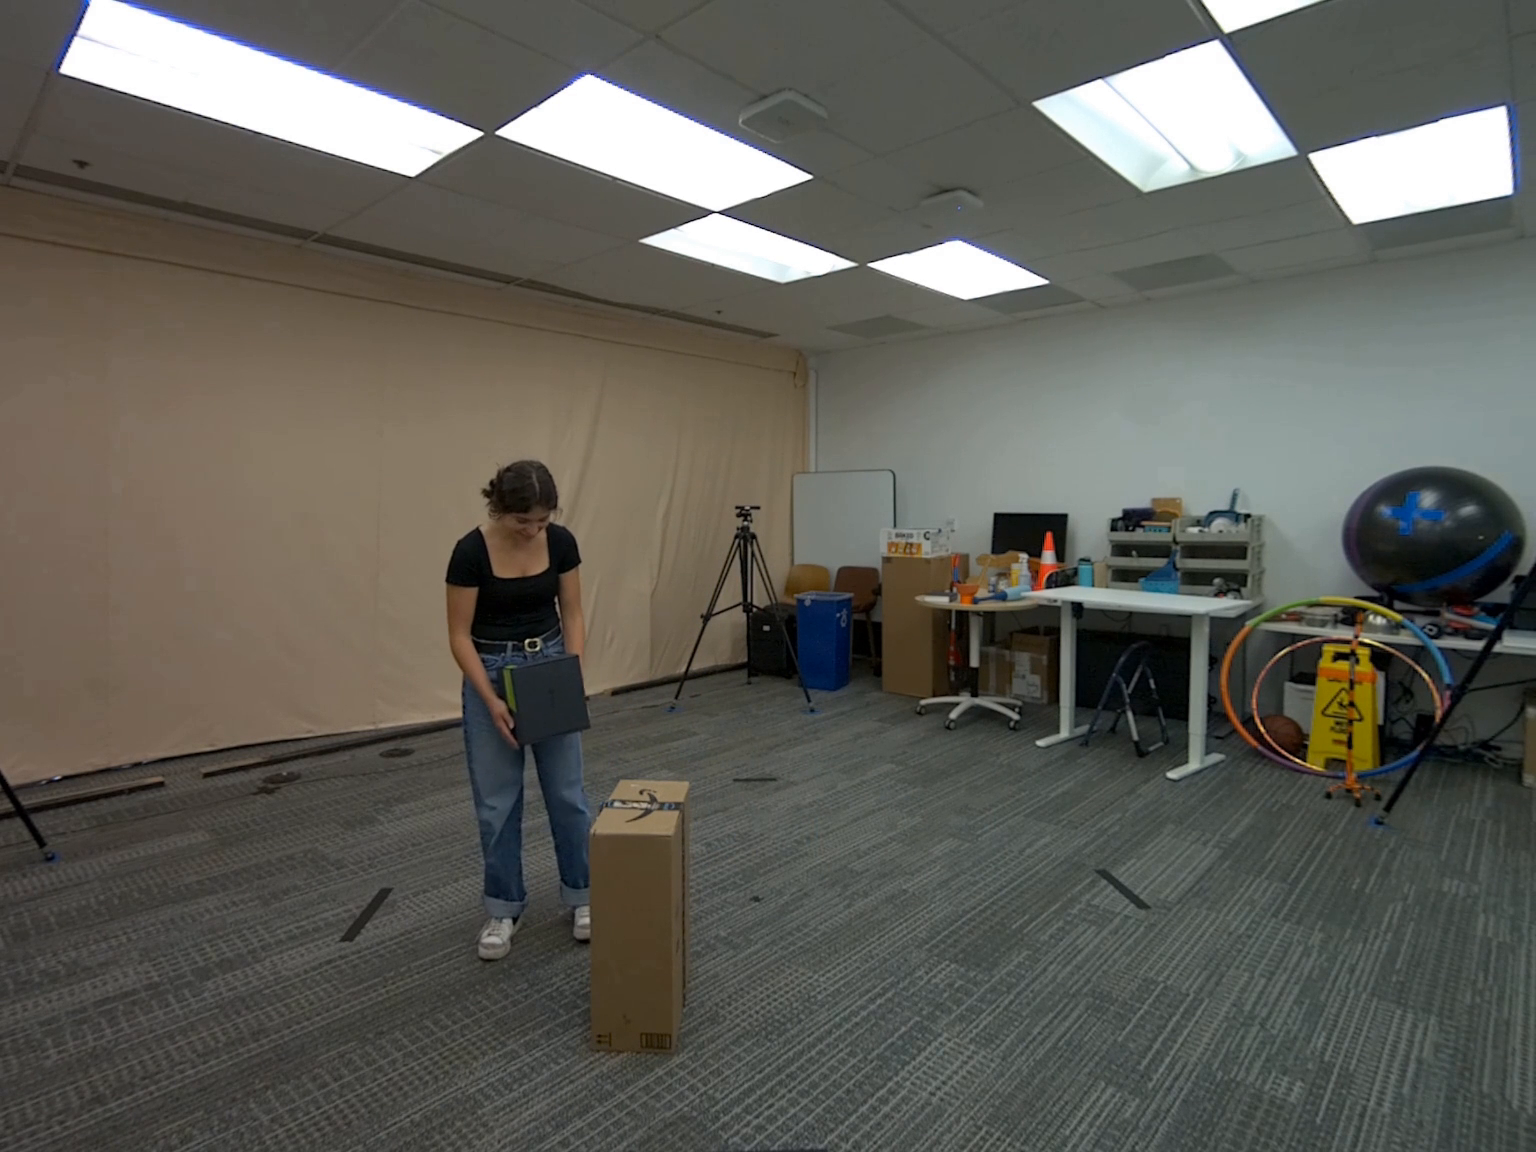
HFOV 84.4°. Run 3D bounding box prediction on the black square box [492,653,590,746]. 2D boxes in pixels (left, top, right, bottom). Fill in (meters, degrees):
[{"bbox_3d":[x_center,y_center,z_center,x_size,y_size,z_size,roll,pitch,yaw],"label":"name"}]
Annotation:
[{"bbox_3d":[-0.693,0.369,2.552,0.212,0.228,0.160,-9,2,-30],"label":"black square box"}]
